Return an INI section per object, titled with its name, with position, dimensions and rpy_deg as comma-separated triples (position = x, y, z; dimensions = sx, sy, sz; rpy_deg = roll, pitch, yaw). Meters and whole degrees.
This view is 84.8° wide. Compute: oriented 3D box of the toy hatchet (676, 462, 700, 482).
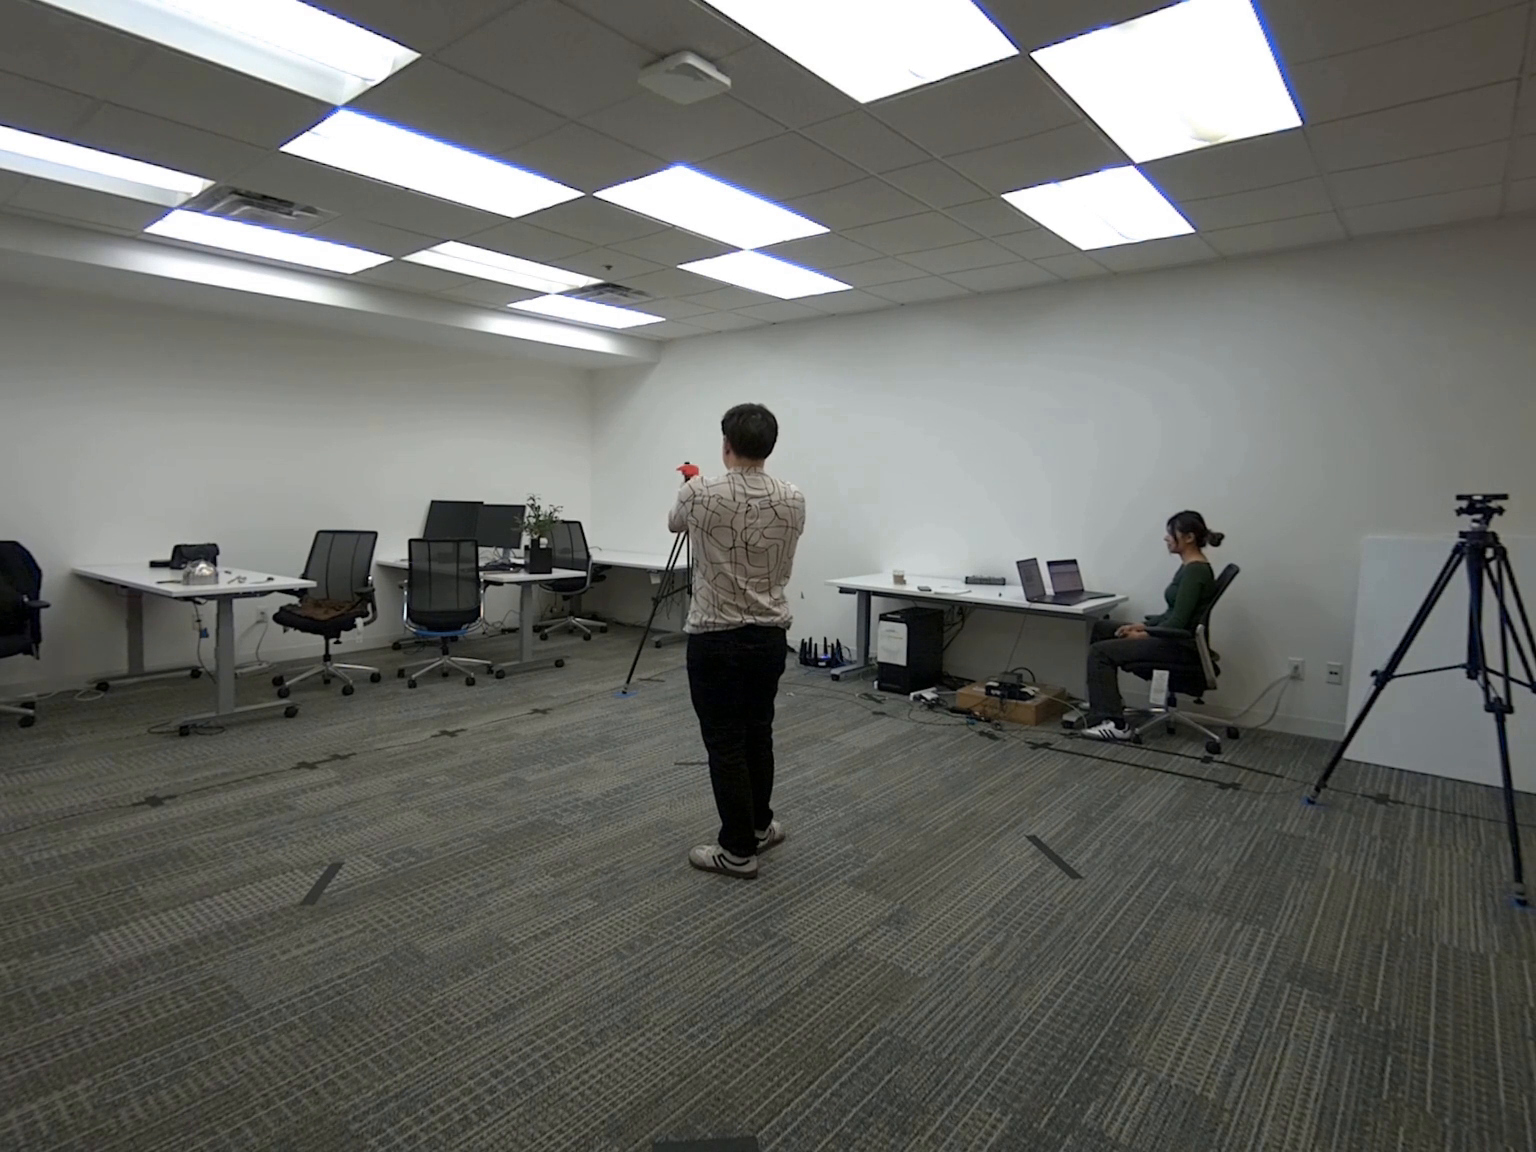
[toy hatchet]
position = -0.309, -0.341, 3.511
dimensions = 0.030, 0.265, 0.129
rpy_deg = -2, 20, 36
